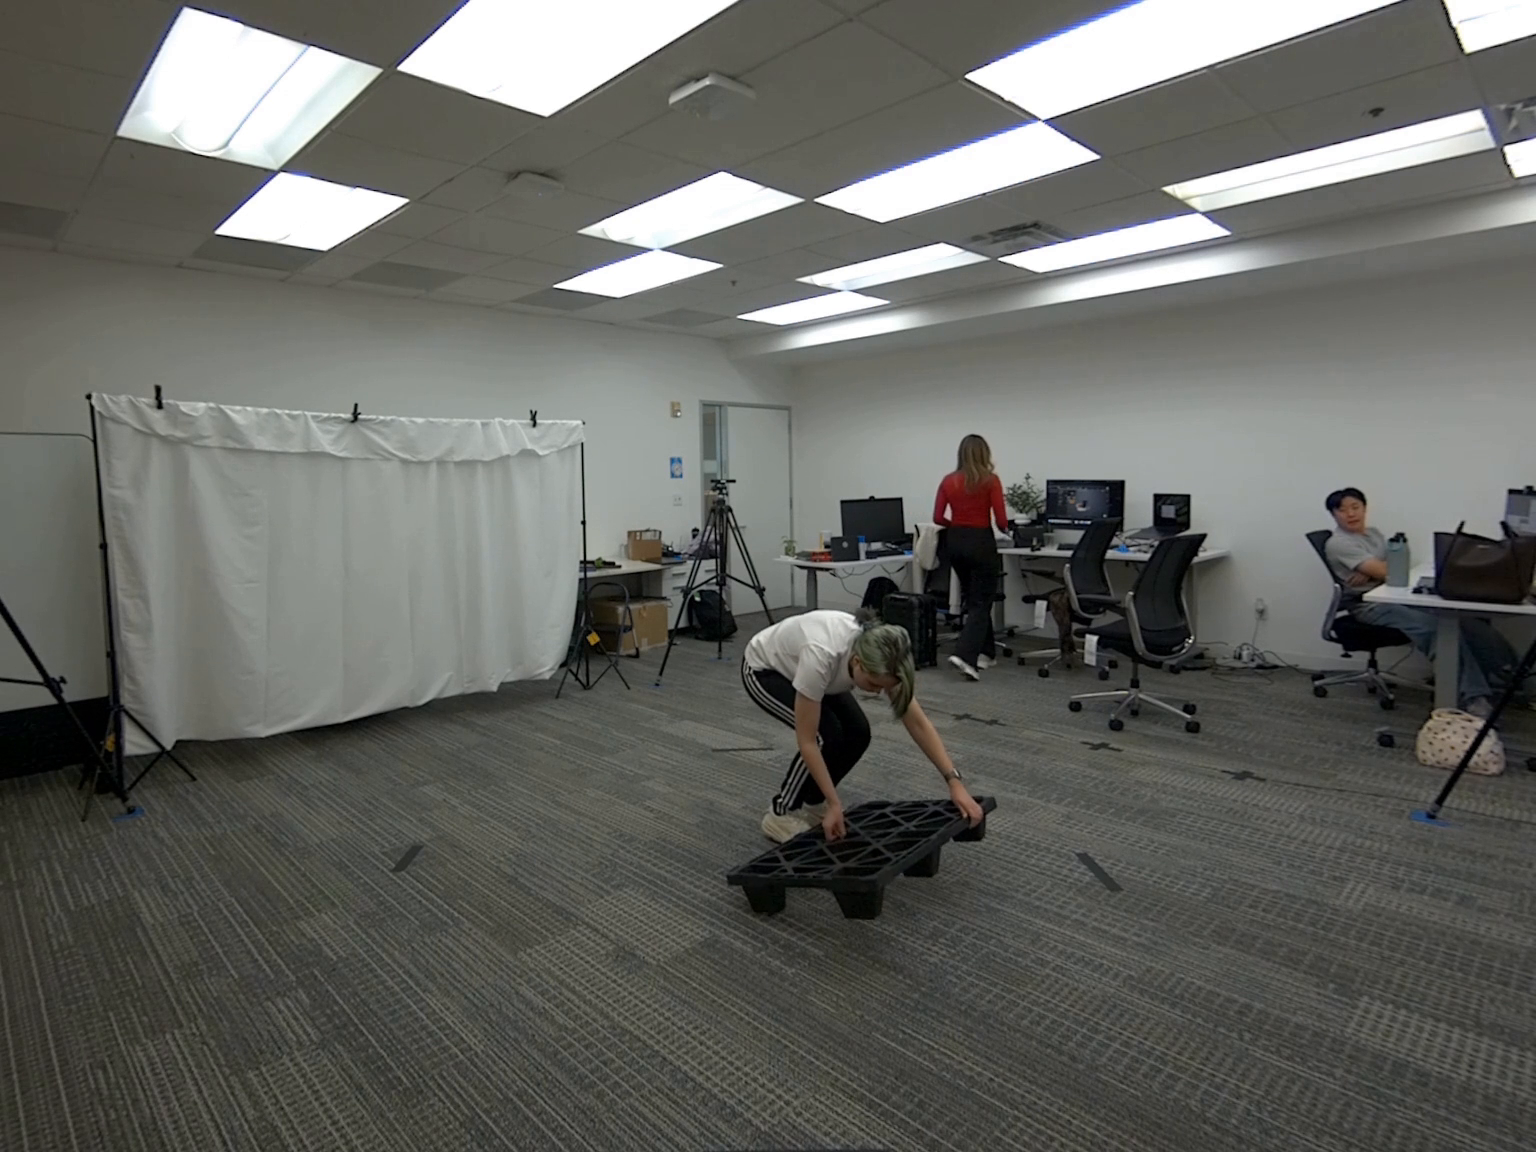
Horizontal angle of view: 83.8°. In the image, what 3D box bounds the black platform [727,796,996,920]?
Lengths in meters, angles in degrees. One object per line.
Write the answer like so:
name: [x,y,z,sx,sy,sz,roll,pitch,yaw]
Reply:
black platform: [0.344,0.941,2.878,0.616,0.144,0.785,-17,-5,41]
